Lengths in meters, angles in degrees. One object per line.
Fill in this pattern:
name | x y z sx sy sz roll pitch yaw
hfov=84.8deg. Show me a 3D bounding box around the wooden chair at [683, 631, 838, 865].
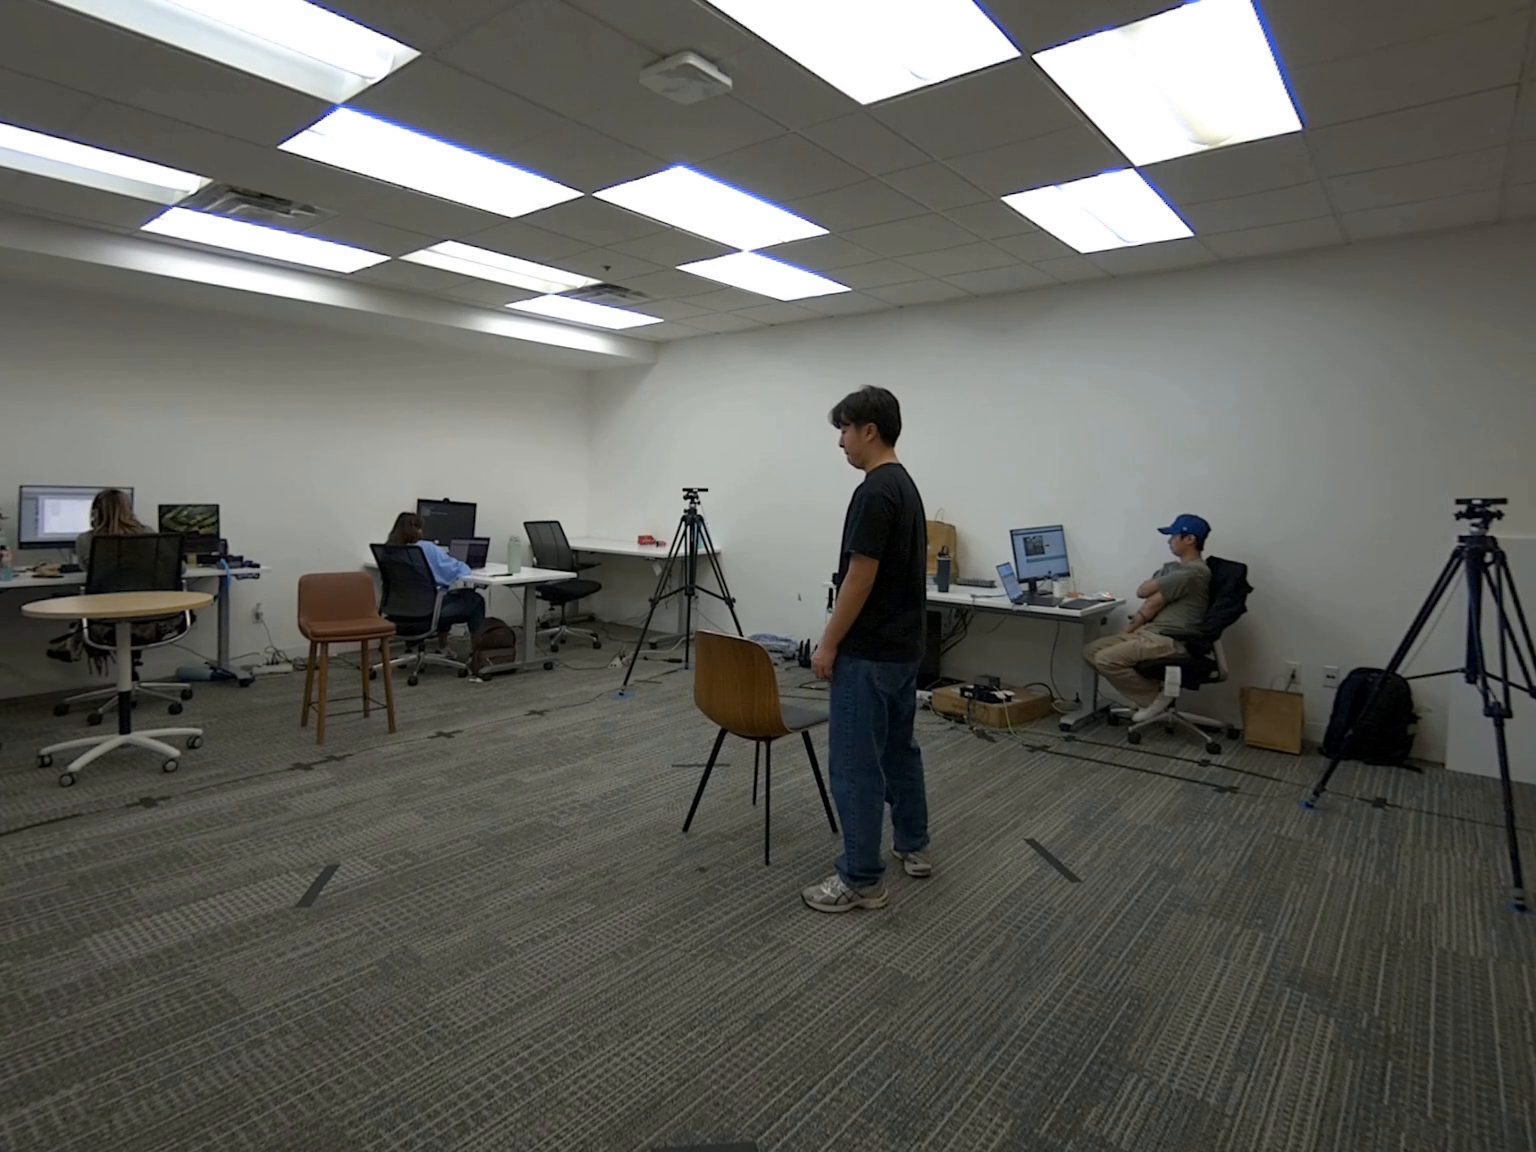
wooden chair | -0.027 0.612 3.446 0.494 0.872 0.509 4 8 40
